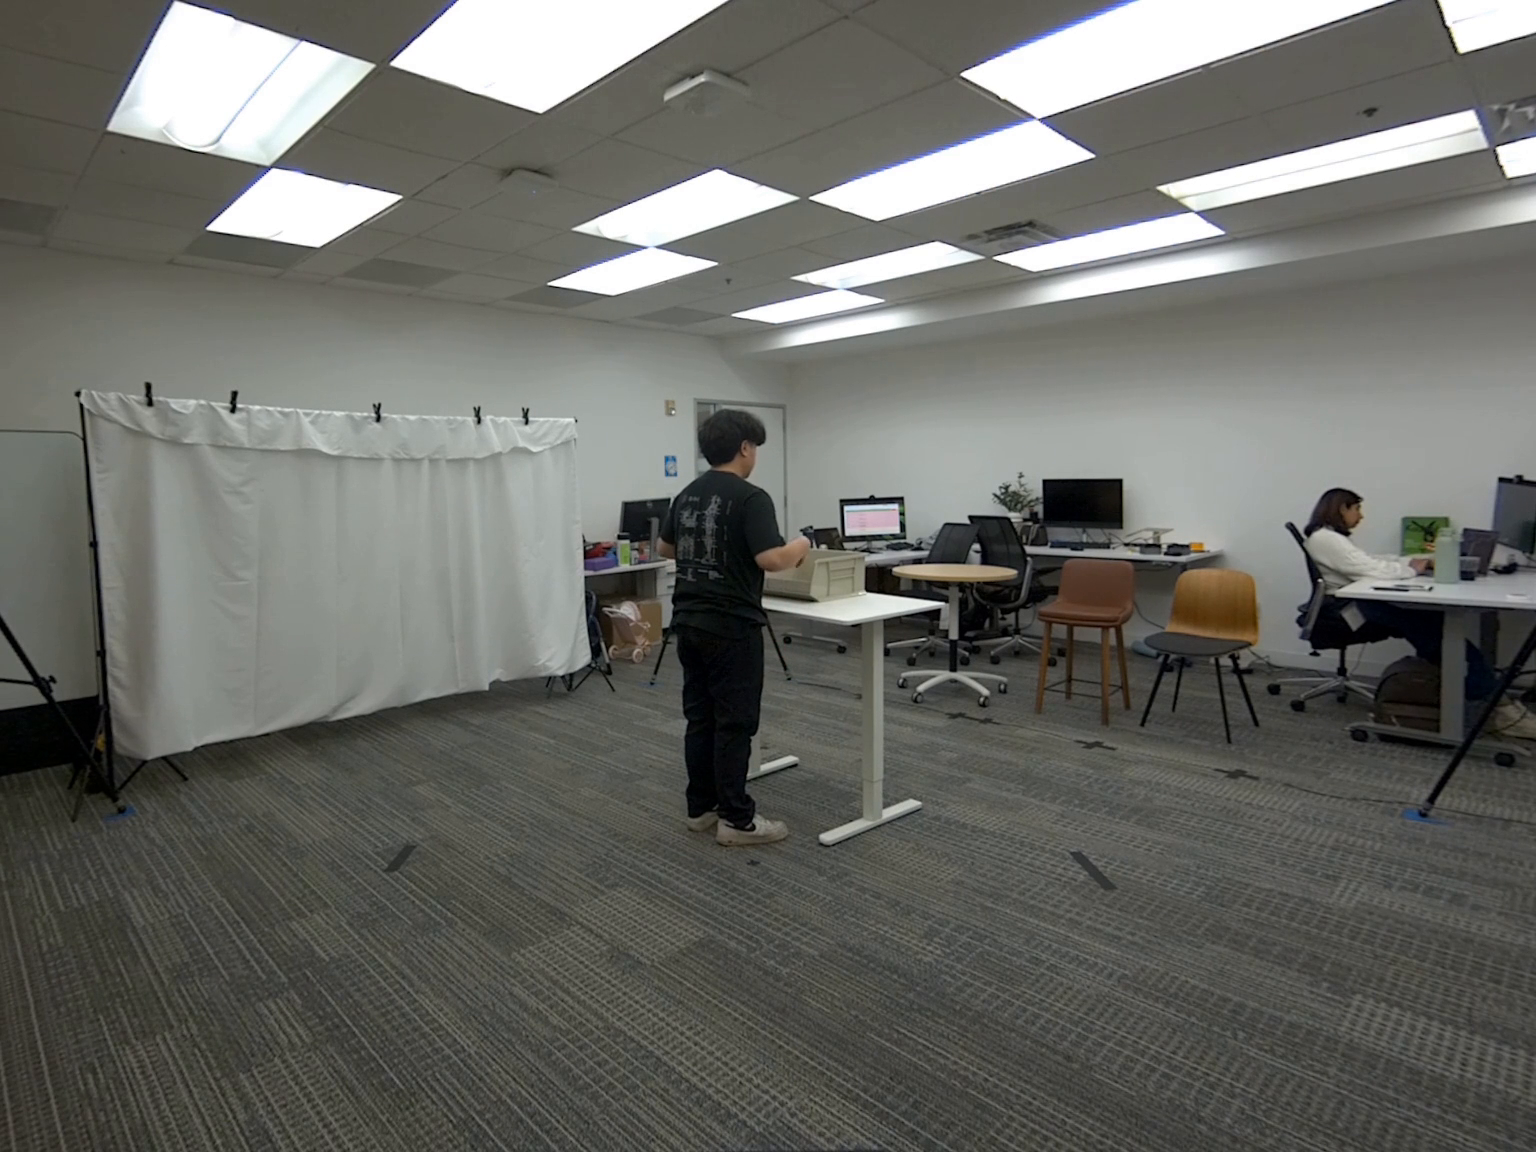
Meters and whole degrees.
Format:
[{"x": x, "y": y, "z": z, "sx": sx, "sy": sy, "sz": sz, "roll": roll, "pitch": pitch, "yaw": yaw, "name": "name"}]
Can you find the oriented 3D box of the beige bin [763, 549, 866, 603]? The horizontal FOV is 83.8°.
[{"x": 0.162, "y": -0.005, "z": 3.745, "sx": 0.367, "sy": 0.188, "sz": 0.435, "roll": -6, "pitch": 8, "yaw": -42, "name": "beige bin"}]
